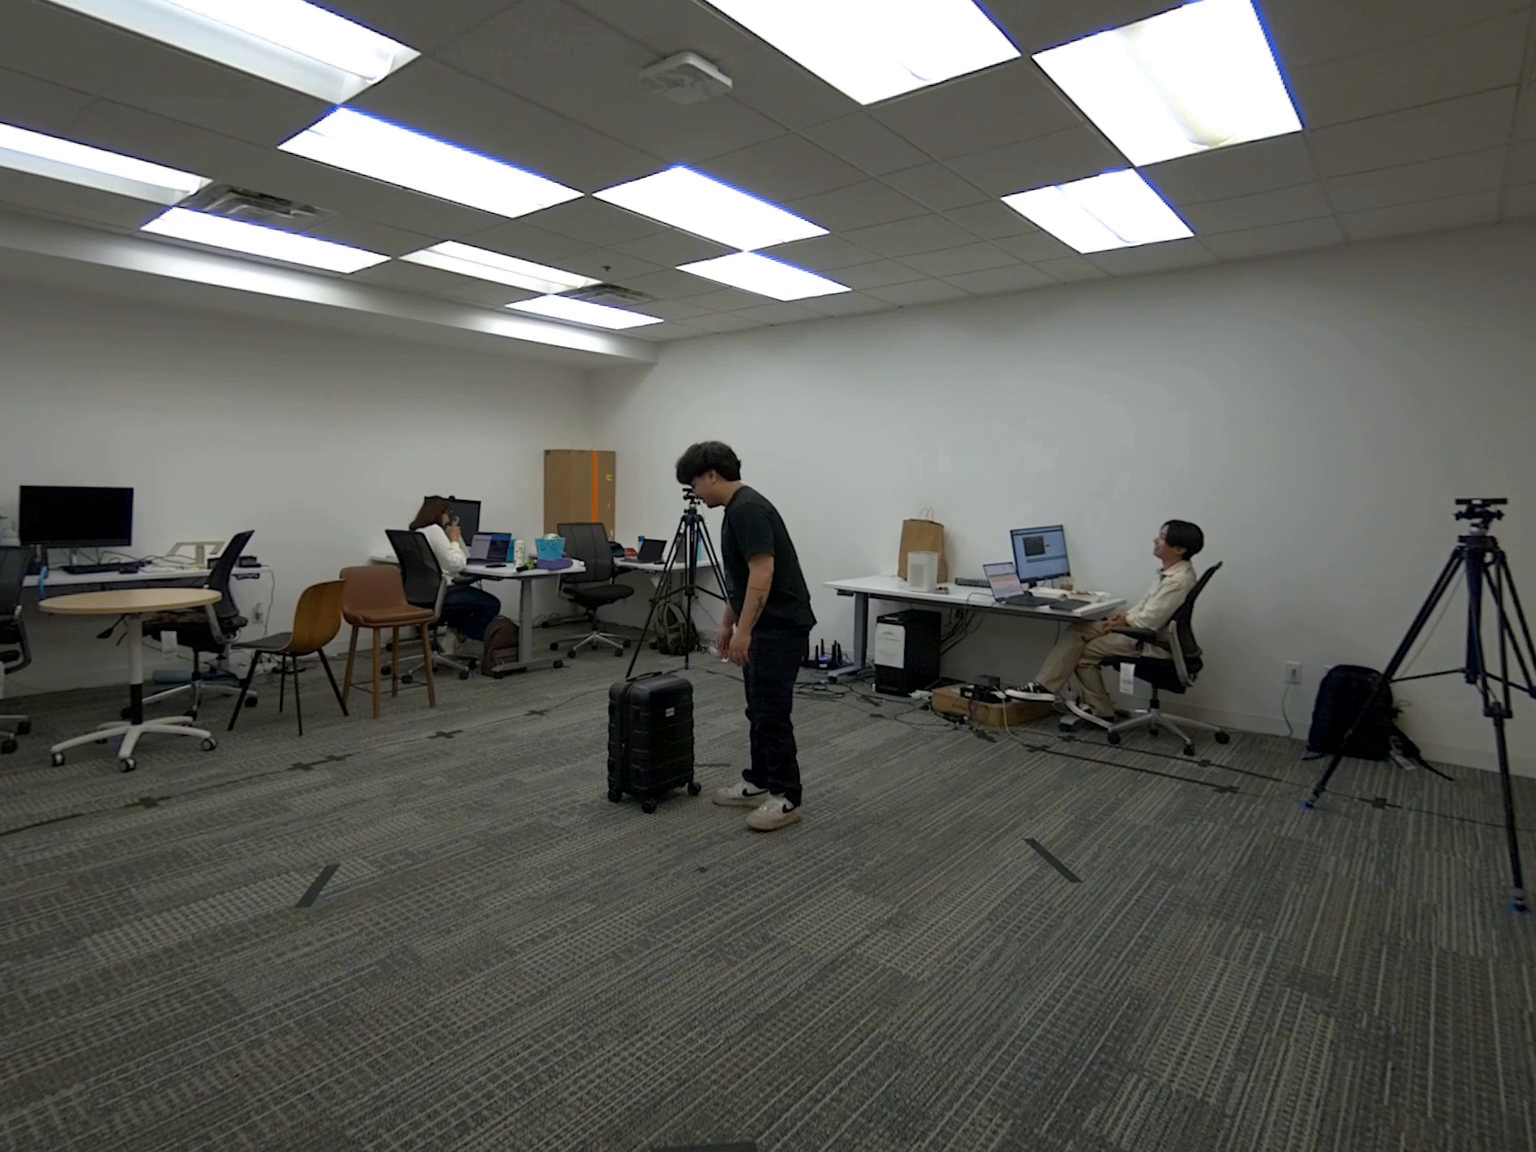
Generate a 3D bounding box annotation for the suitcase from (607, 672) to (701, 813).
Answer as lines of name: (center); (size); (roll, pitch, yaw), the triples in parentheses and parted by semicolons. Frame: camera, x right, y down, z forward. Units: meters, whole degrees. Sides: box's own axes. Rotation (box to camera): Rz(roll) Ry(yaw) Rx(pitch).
suitcase: (-0.538, 0.718, 3.841); (0.256, 0.548, 0.364); (1, 2, 39)
